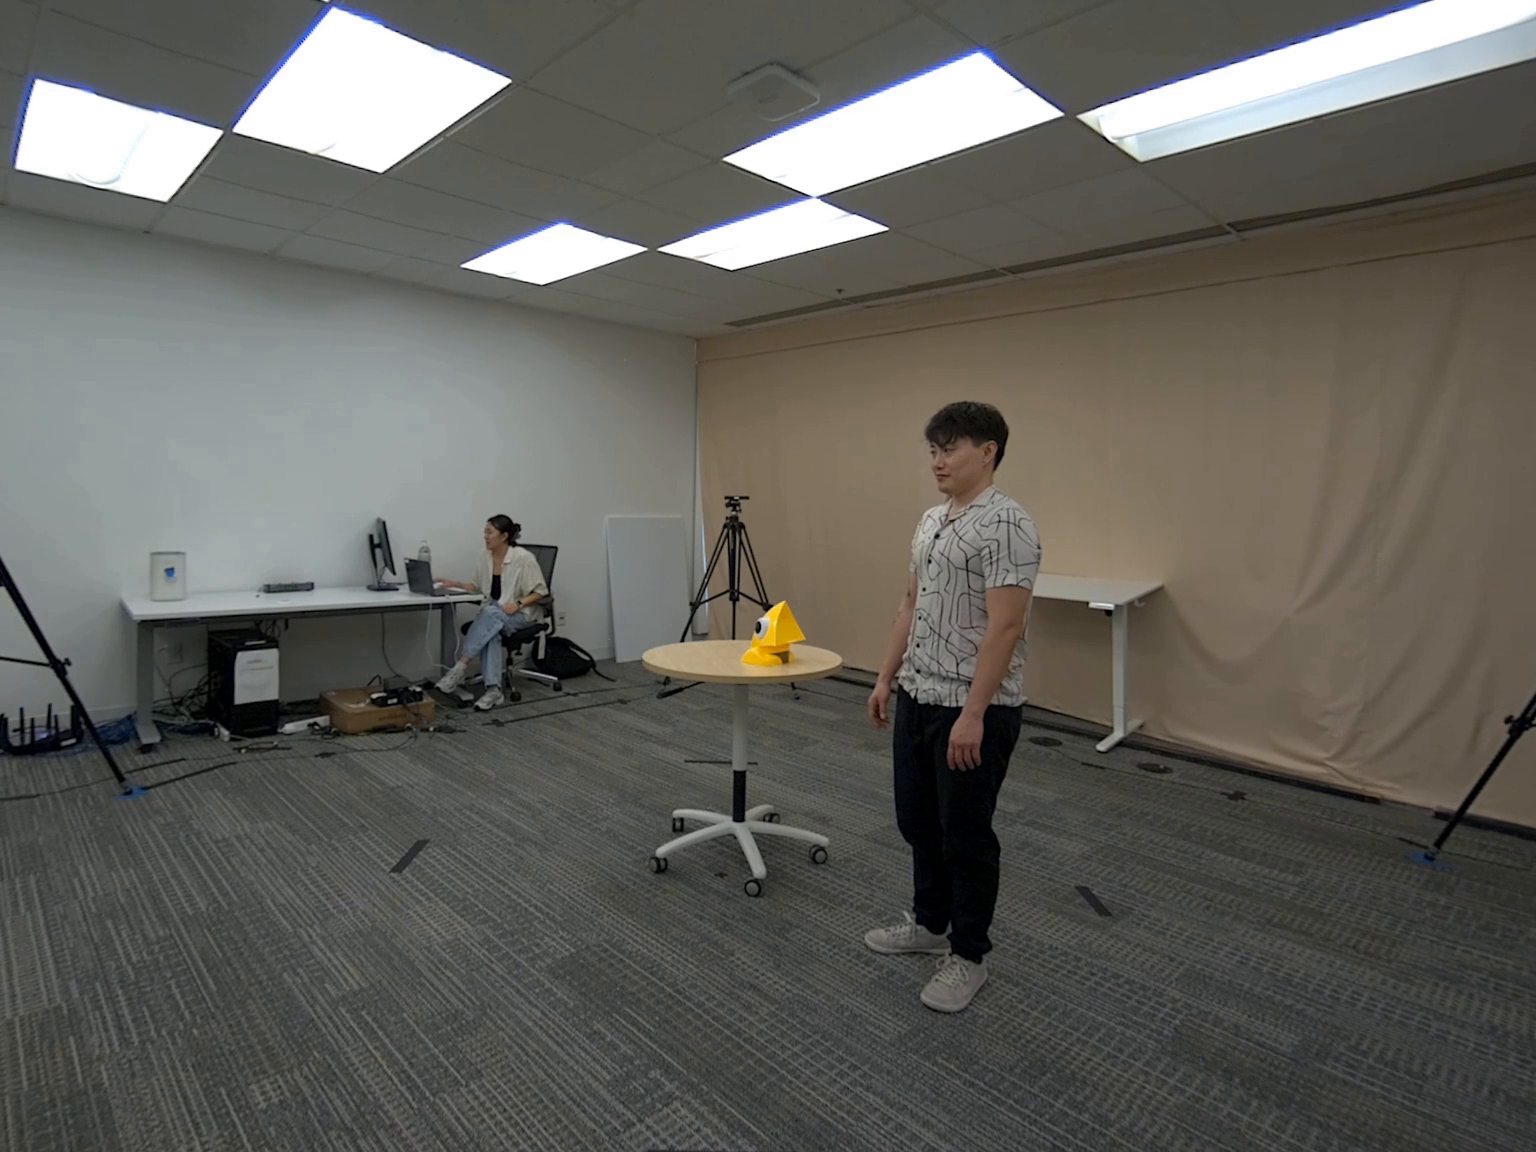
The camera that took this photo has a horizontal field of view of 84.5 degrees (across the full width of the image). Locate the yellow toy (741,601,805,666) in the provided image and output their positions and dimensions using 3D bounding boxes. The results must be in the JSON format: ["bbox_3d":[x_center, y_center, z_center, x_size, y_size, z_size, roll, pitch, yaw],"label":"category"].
[{"bbox_3d":[0.002,0.204,3.148,0.198,0.230,0.200,3,4,36],"label":"yellow toy"}]
